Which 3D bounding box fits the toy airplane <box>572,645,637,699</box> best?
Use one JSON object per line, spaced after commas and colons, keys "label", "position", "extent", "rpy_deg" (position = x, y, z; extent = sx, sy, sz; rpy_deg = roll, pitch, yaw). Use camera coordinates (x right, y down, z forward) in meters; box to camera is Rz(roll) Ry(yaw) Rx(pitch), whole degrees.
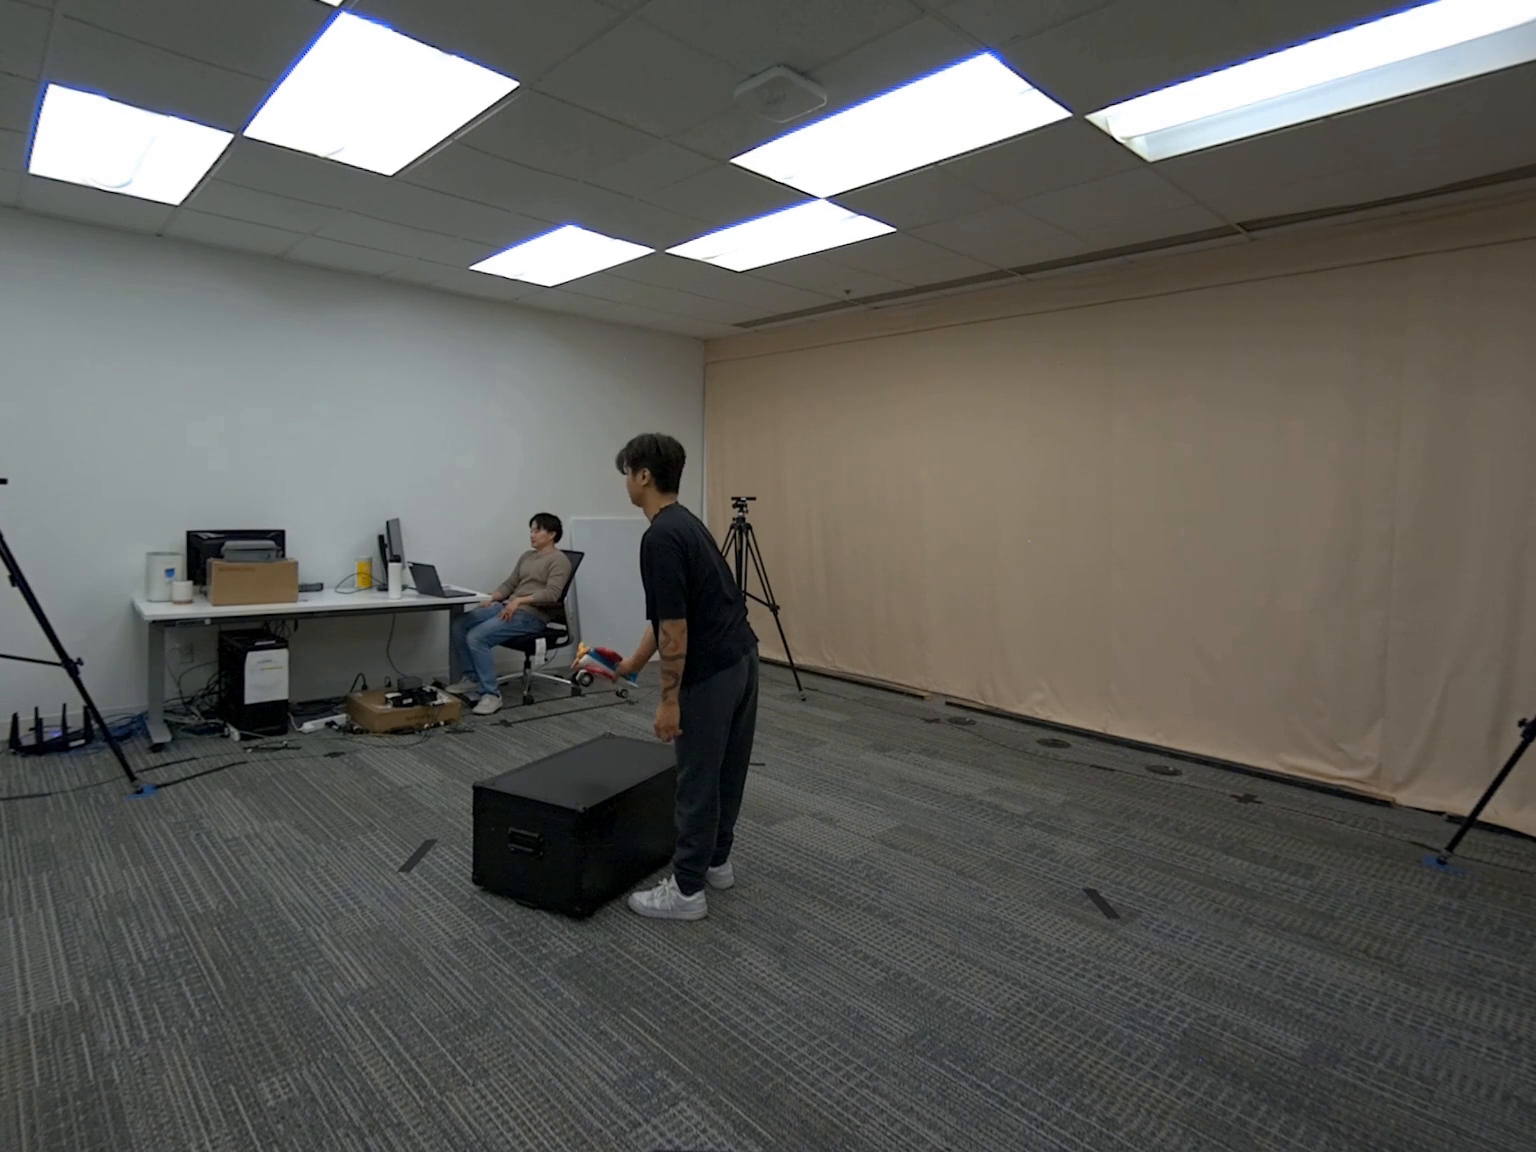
{"label": "toy airplane", "position": [-0.634, 0.358, 3.184], "extent": [0.257, 0.157, 0.251], "rpy_deg": [8, -13, 32]}
